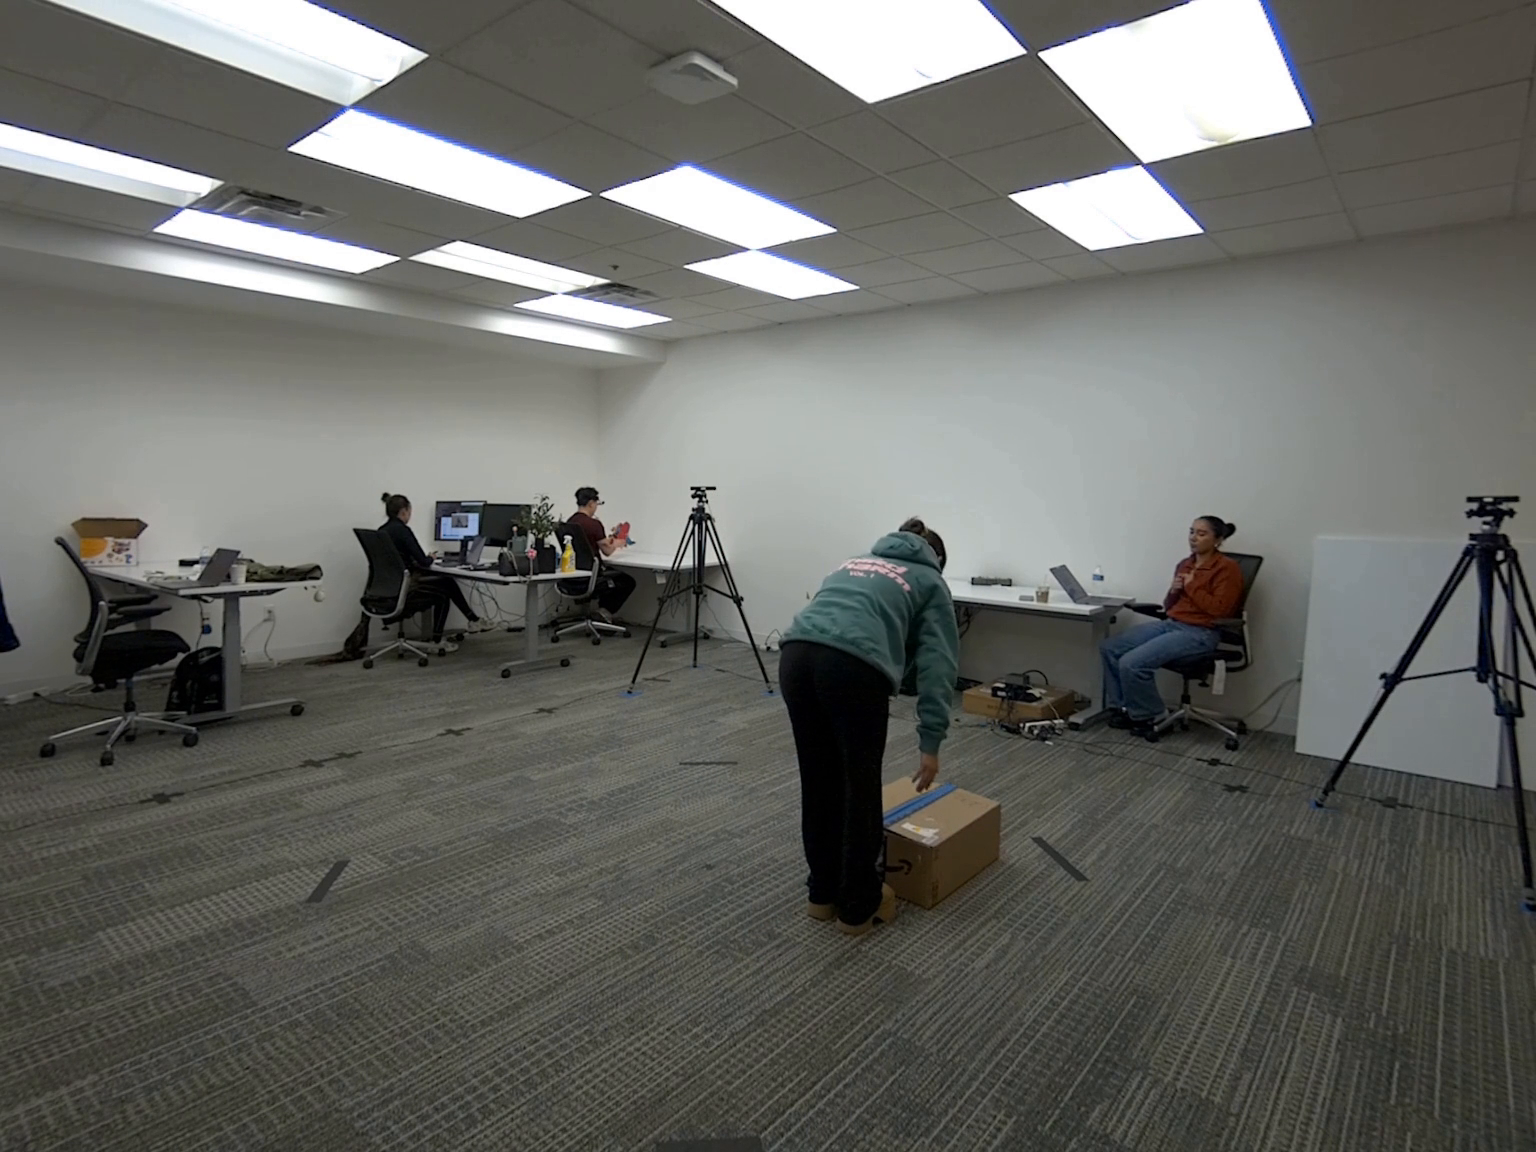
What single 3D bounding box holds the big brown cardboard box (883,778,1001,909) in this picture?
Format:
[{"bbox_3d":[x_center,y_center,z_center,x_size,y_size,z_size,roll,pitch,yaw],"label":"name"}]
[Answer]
[{"bbox_3d":[0.548,0.969,3.169,0.432,0.232,0.571,6,6,39],"label":"big brown cardboard box"}]
